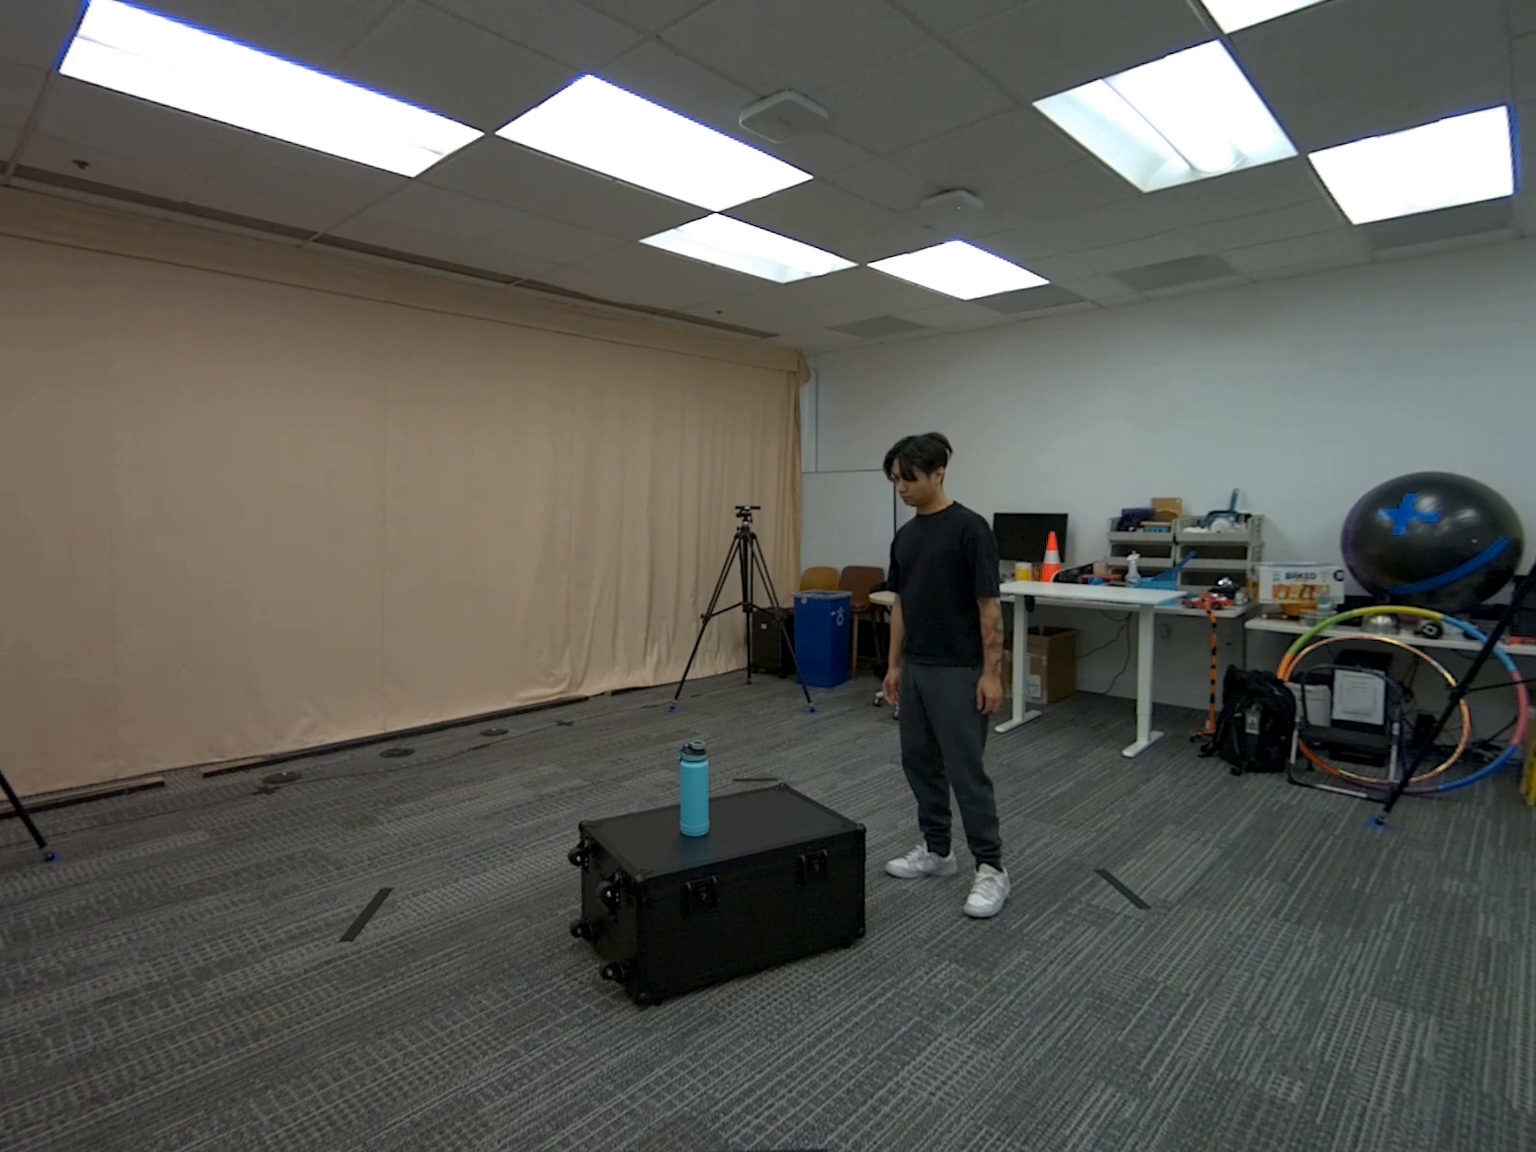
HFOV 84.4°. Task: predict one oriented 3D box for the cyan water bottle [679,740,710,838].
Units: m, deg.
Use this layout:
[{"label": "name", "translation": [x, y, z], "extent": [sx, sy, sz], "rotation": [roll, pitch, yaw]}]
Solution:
[{"label": "cyan water bottle", "translation": [-0.230, 0.662, 2.634], "extent": [0.092, 0.283, 0.092], "rotation": [0, 2, -2]}]
